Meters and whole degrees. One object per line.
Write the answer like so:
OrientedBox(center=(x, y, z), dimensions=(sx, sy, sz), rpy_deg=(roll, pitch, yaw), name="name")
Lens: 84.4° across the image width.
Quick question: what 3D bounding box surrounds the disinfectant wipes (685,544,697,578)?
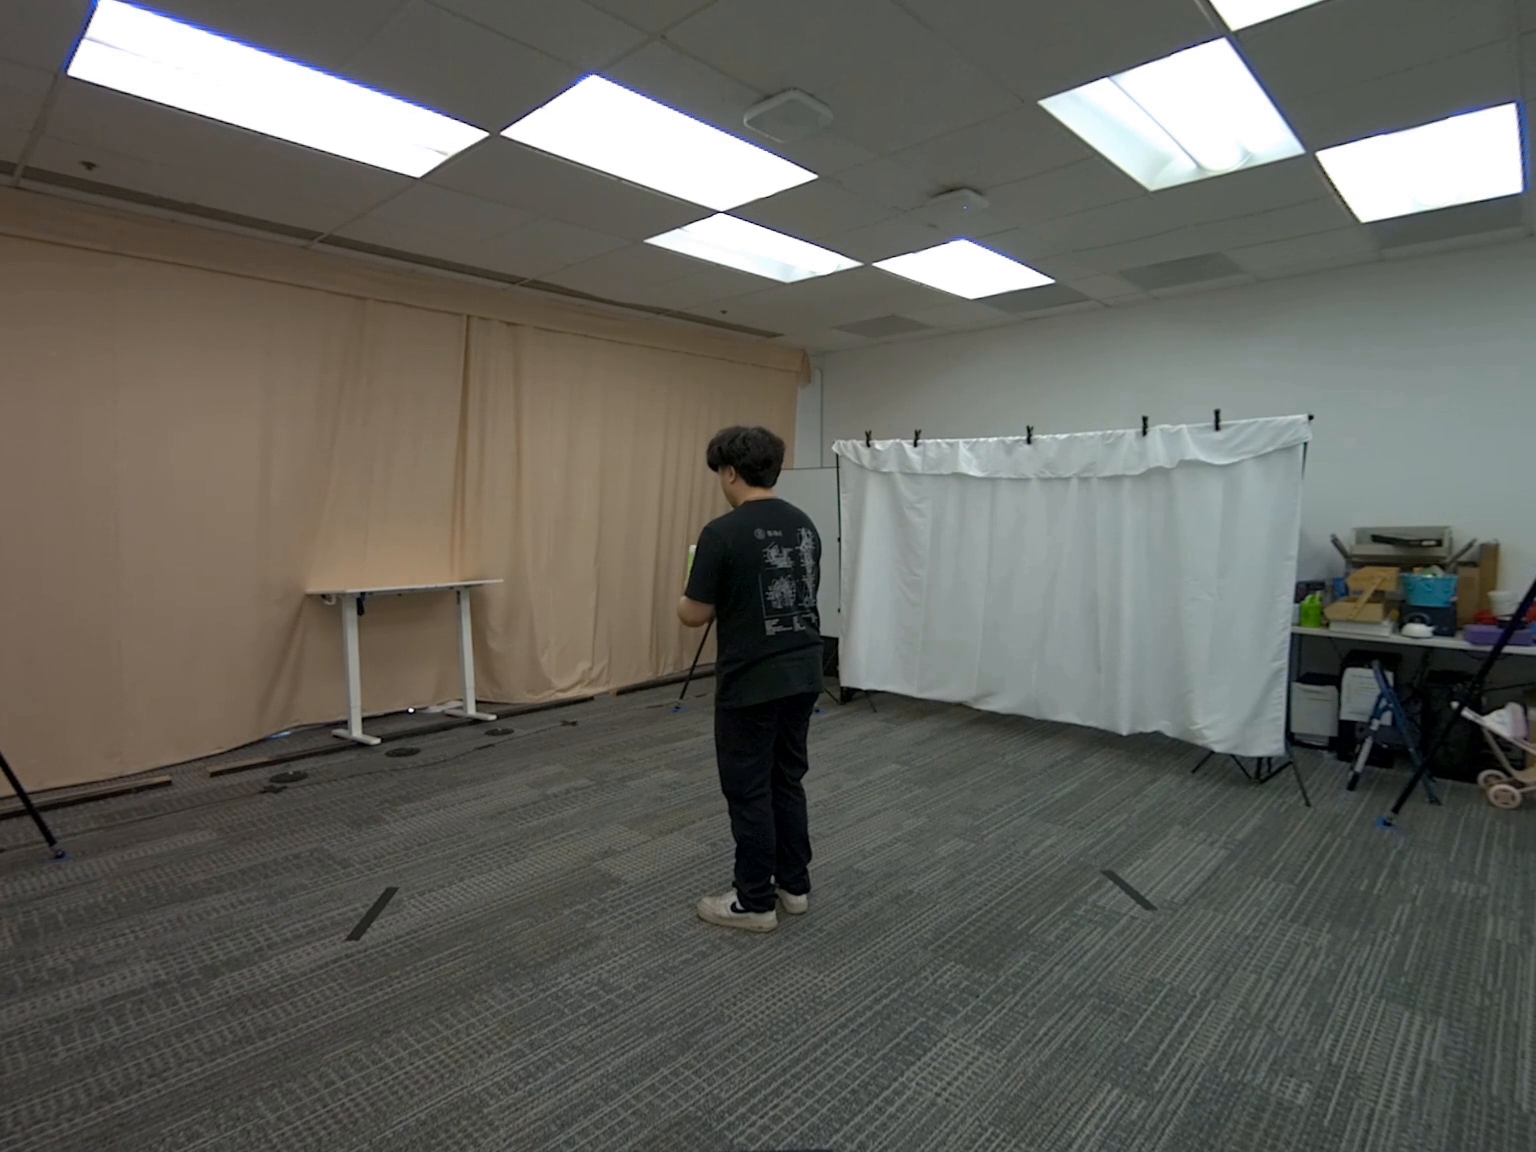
OrientedBox(center=(-0.231, -0.007, 3.093), dimensions=(0.118, 0.217, 0.118), rpy_deg=(-2, 4, -2), name="disinfectant wipes")
